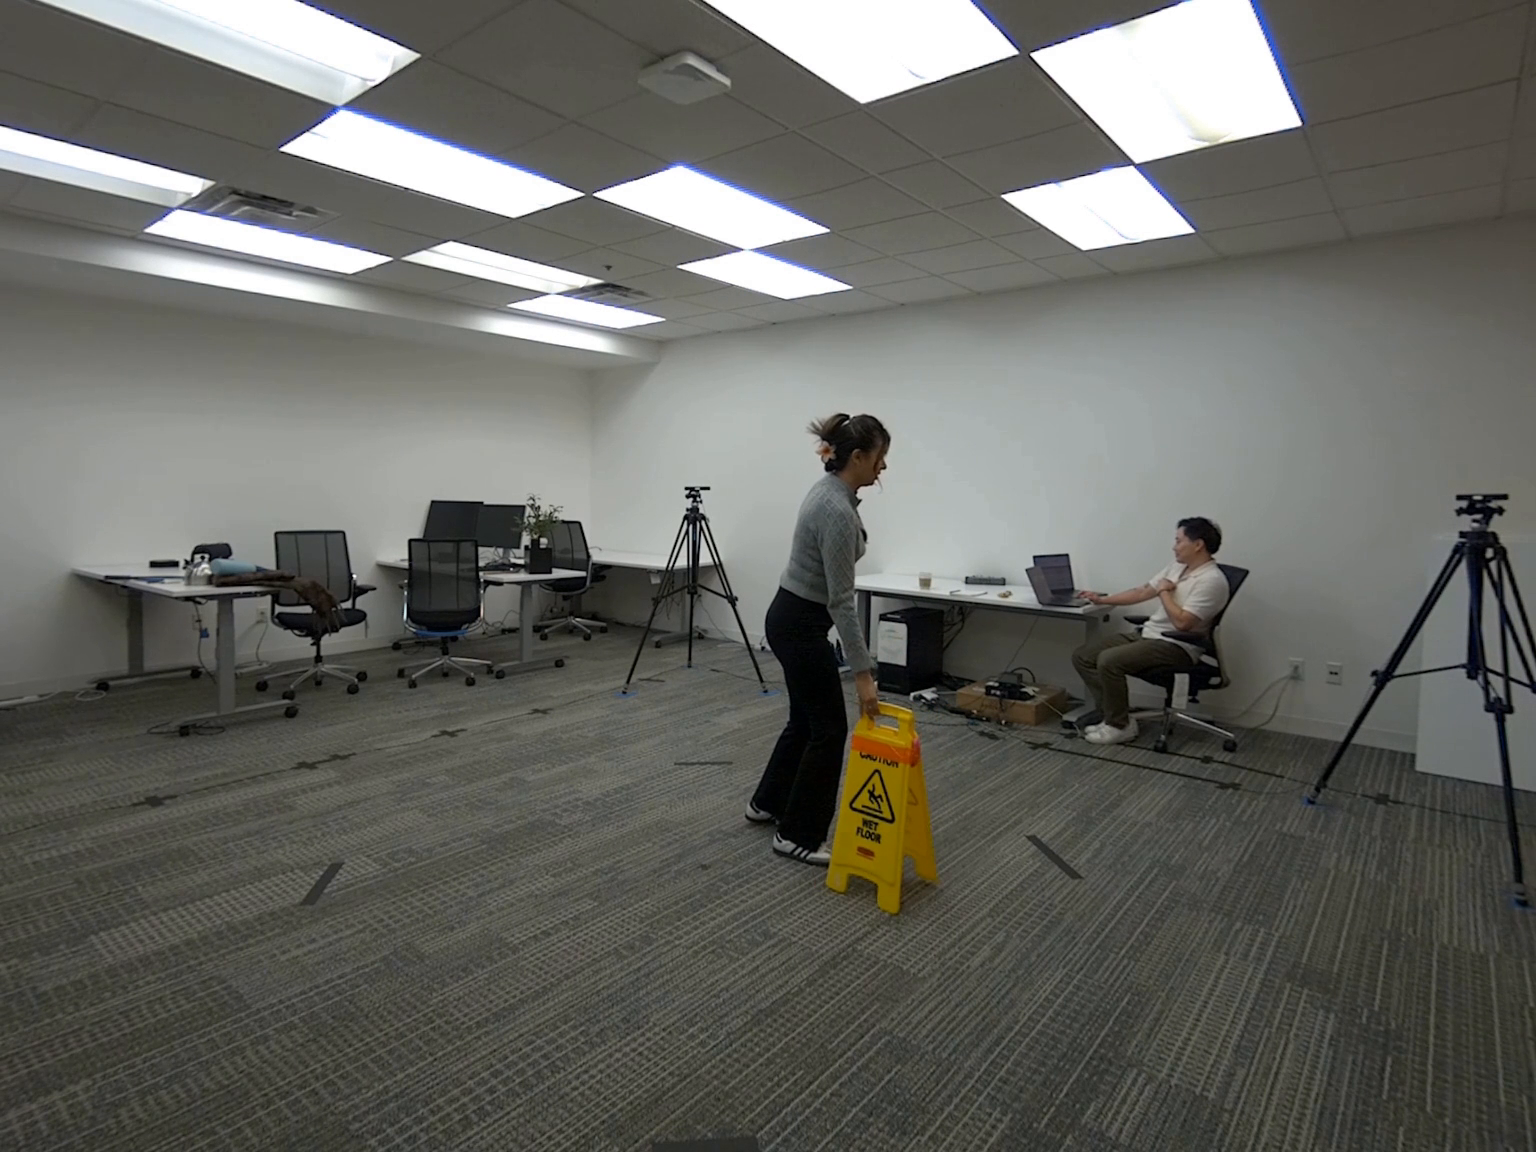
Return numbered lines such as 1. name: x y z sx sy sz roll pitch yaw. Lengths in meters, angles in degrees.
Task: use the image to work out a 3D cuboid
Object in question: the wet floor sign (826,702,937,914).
1. wet floor sign: 0.397 0.758 2.955 0.292 0.642 0.282 5 8 37
